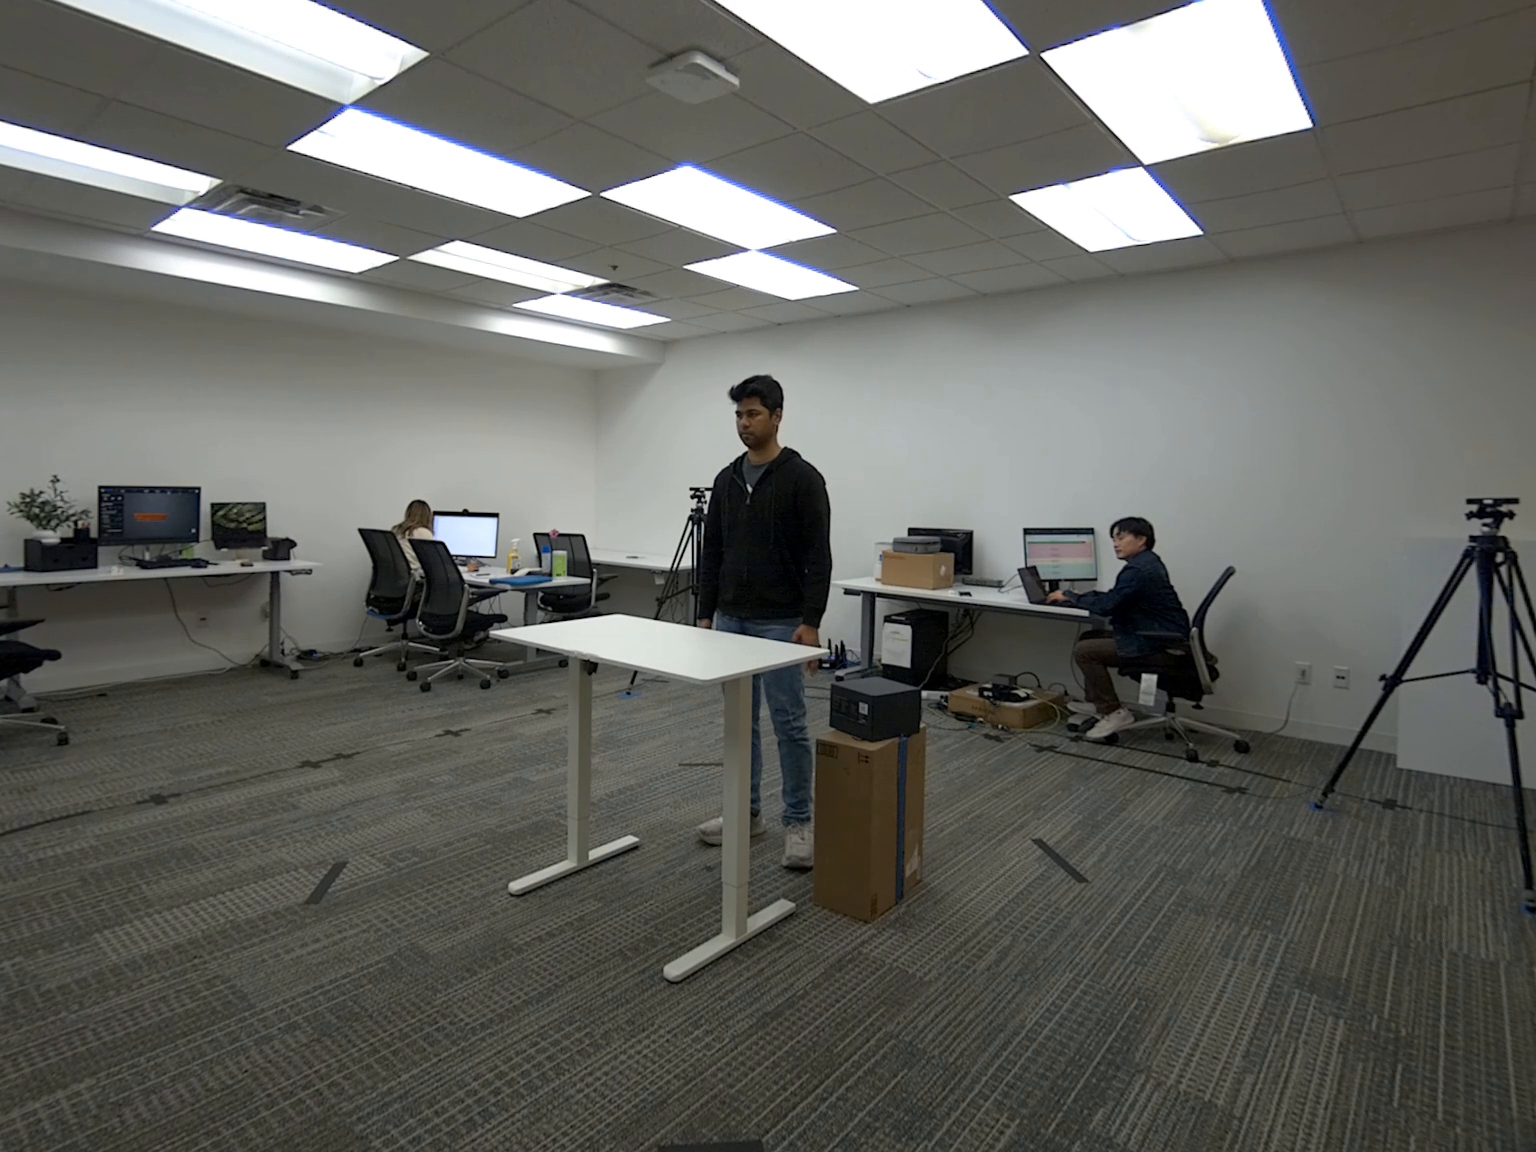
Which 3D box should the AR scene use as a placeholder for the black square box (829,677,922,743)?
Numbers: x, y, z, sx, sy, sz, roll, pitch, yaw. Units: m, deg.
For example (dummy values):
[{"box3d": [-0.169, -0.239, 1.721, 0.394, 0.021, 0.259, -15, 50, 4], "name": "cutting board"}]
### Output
[{"box3d": [0.361, 0.454, 2.931, 0.221, 0.155, 0.224, -2, 5, -36], "name": "black square box"}]
